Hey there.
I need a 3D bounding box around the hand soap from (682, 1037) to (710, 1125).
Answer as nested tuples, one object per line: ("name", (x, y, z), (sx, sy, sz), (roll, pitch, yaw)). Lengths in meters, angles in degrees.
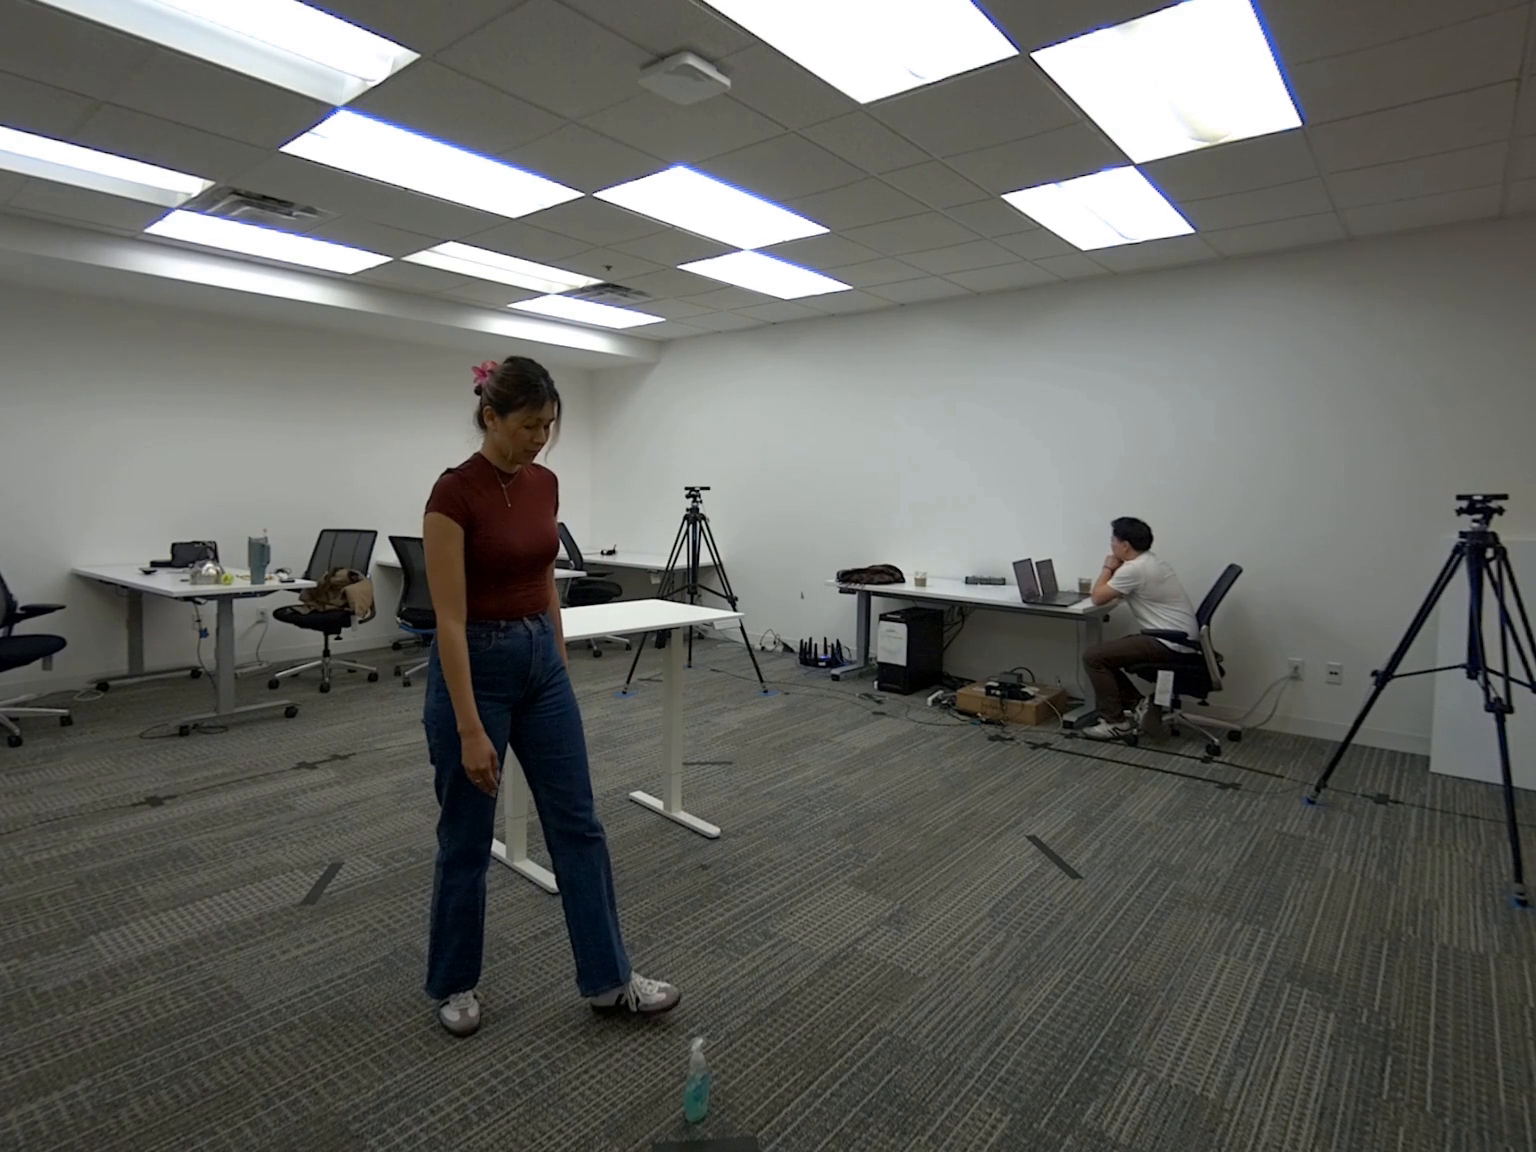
("hand soap", (-0.162, 1.113, 1.884), (0.044, 0.167, 0.083), (5, 4, 18))
